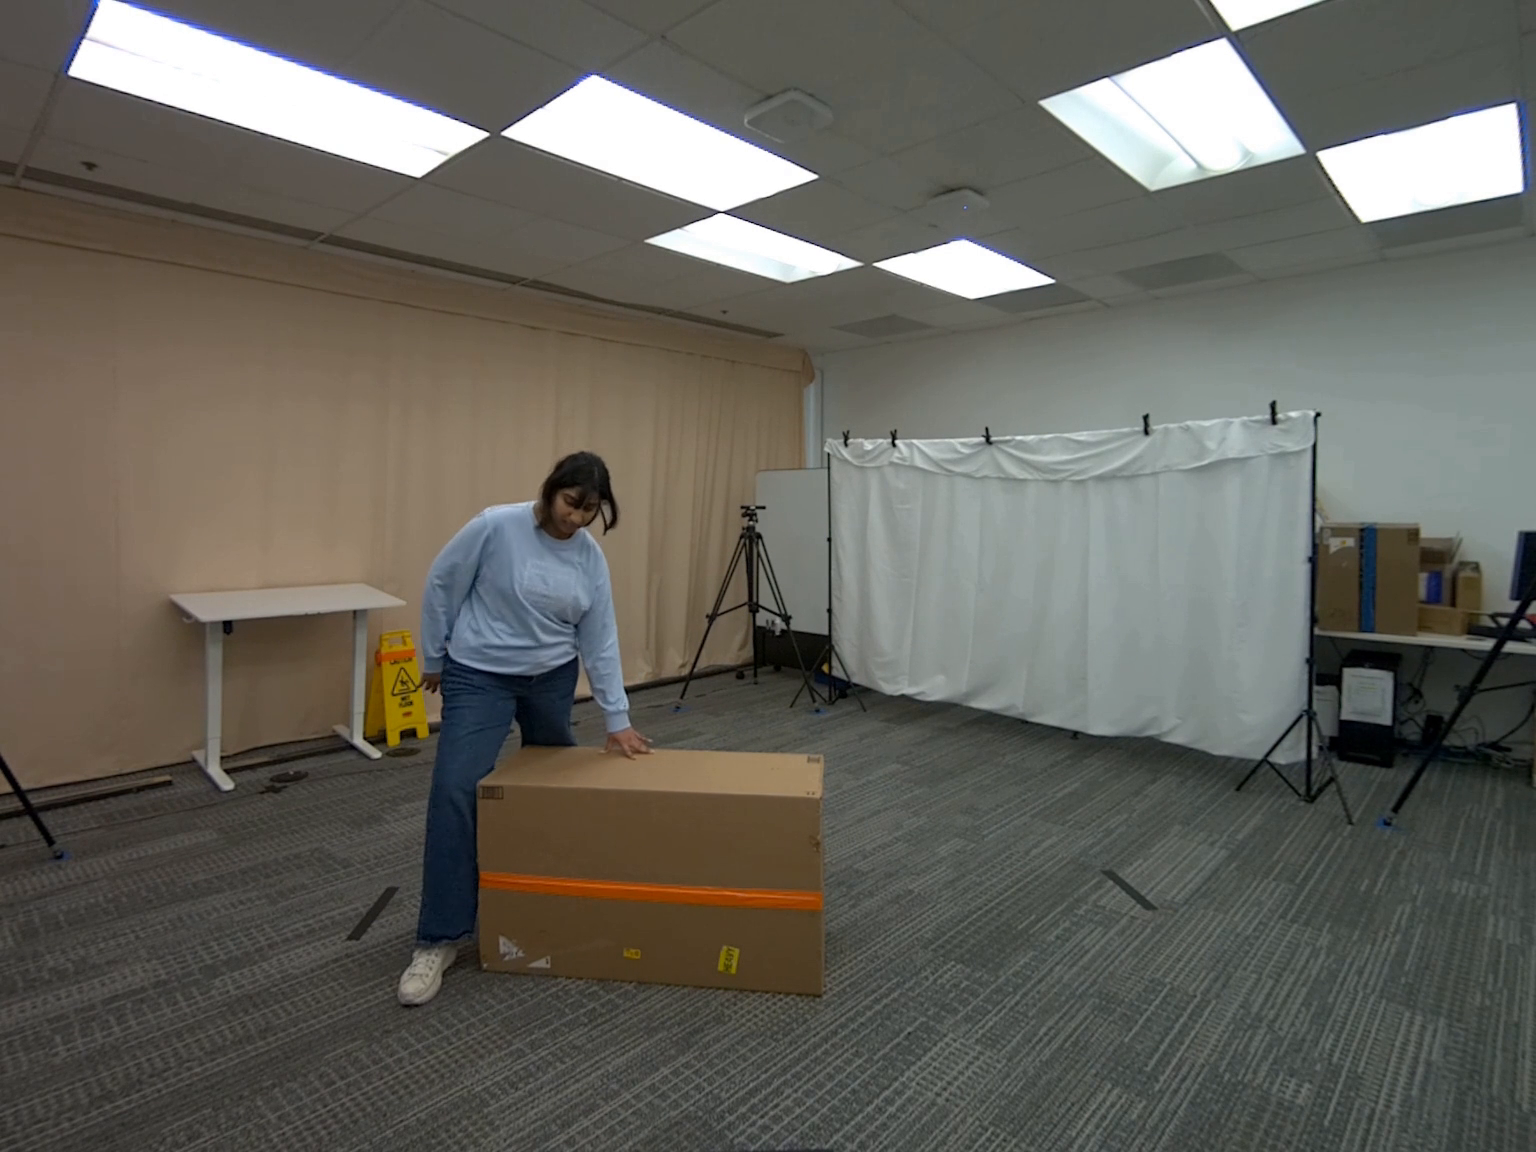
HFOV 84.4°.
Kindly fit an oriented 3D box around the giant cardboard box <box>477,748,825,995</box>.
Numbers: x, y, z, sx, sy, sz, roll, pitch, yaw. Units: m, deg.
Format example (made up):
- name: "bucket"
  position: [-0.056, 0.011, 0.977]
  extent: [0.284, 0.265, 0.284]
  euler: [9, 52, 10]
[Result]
- name: "giant cardboard box"
  position: [-0.333, 0.886, 2.637]
  extent: [1.034, 0.576, 0.423]
  euler: [0, 4, 7]
